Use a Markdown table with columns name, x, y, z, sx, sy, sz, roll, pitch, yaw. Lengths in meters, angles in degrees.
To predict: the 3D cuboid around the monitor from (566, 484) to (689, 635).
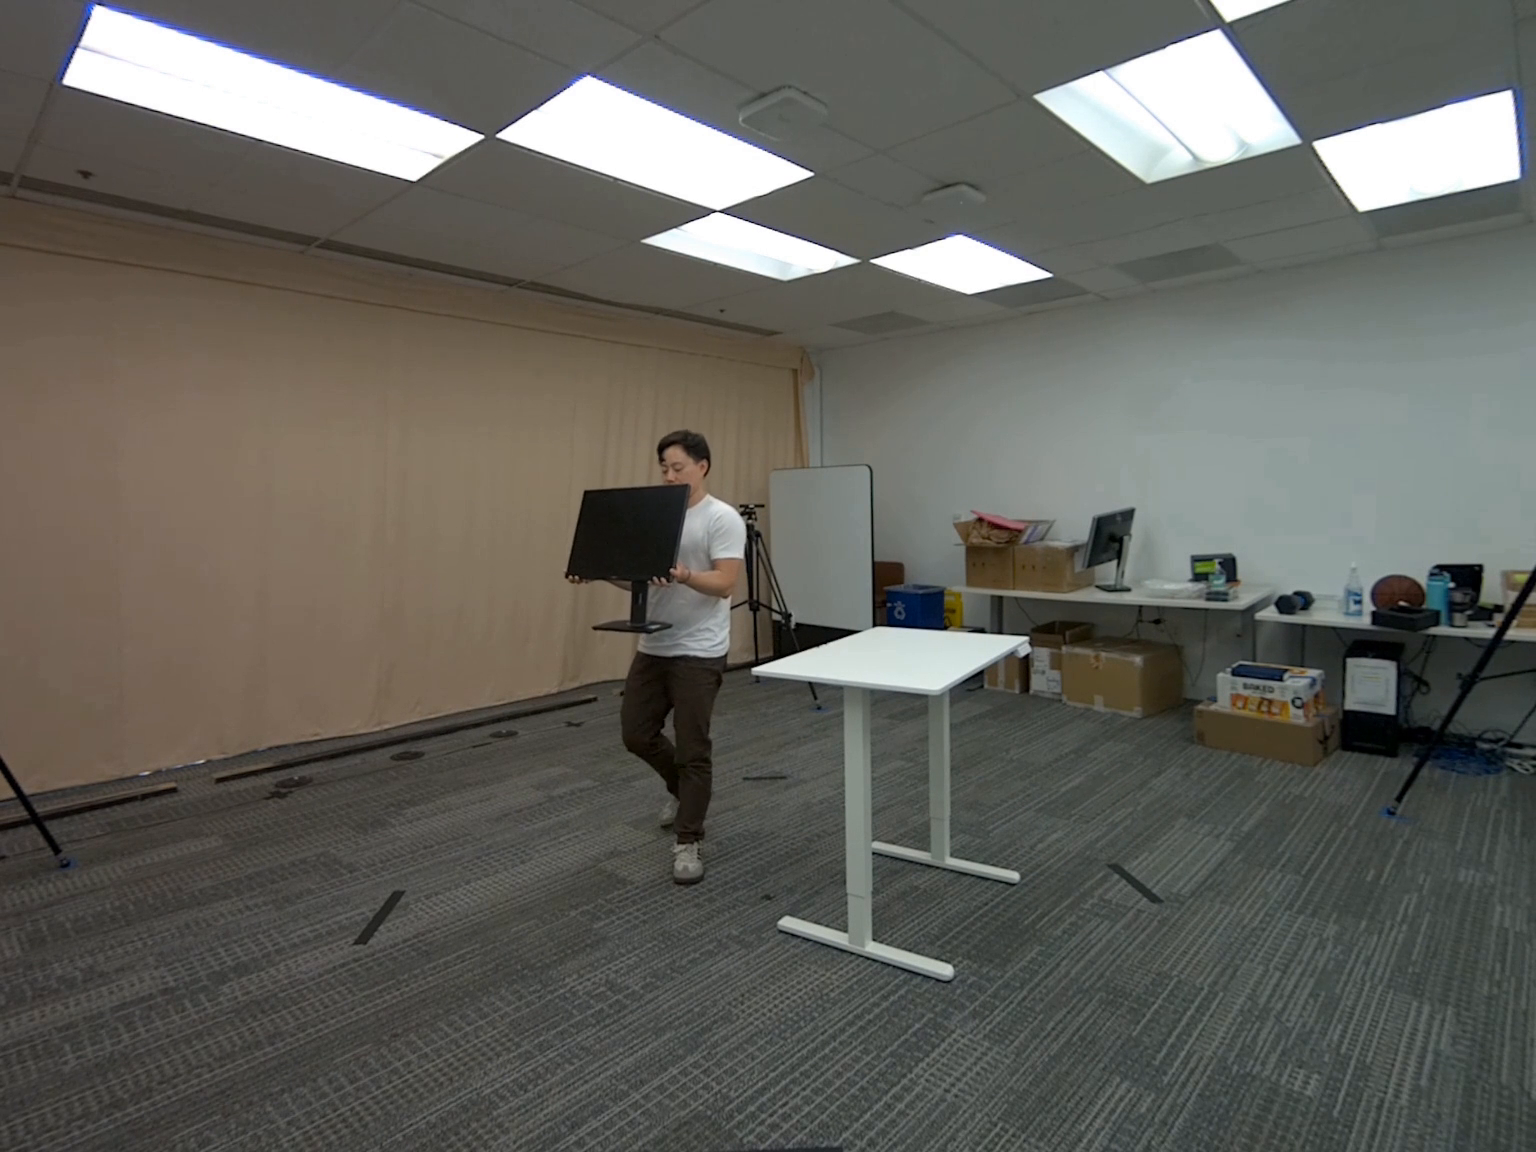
| name | x | y | z | sx | sy | sz | roll | pitch | yaw |
| --- | --- | --- | --- | --- | --- | --- | --- | --- | --- |
| monitor | -0.493 | -0.065 | 3.080 | 0.556 | 0.523 | 0.181 | 1 | -1 | 37 |
